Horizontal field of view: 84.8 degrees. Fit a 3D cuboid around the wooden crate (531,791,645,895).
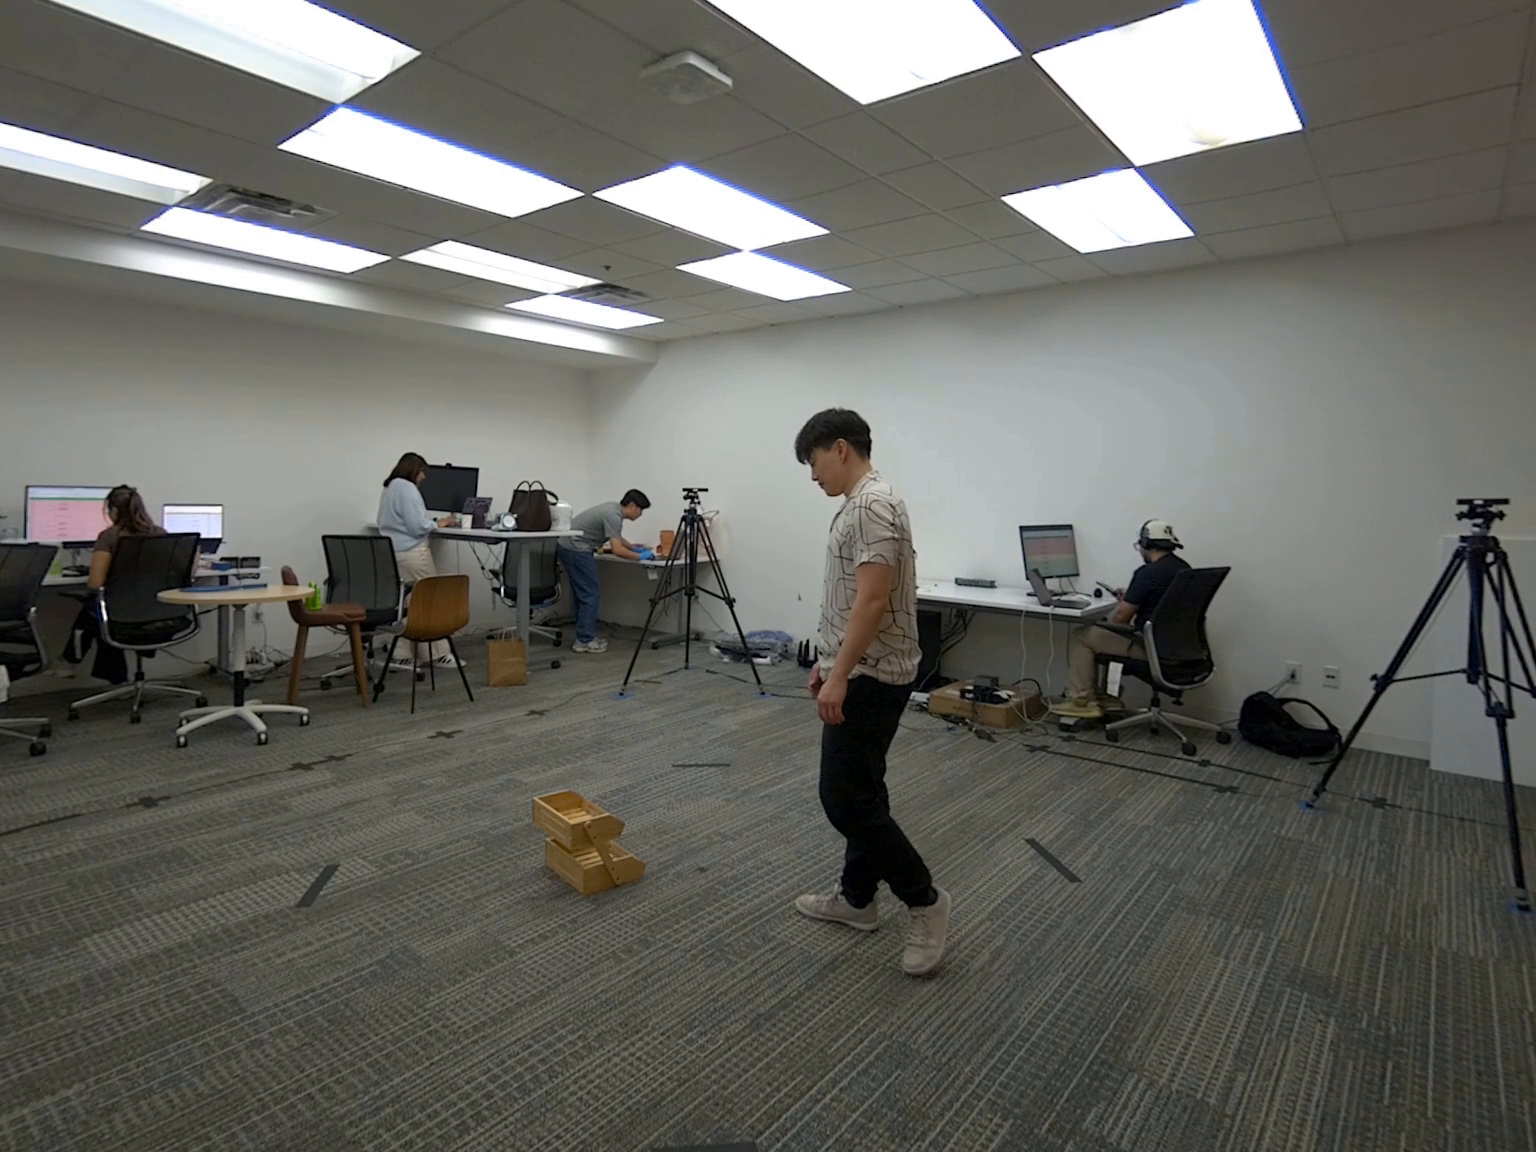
[{"bbox_3d":[-0.655,0.930,3.058,0.293,0.272,0.335,-3,6,-39],"label":"wooden crate"}]
